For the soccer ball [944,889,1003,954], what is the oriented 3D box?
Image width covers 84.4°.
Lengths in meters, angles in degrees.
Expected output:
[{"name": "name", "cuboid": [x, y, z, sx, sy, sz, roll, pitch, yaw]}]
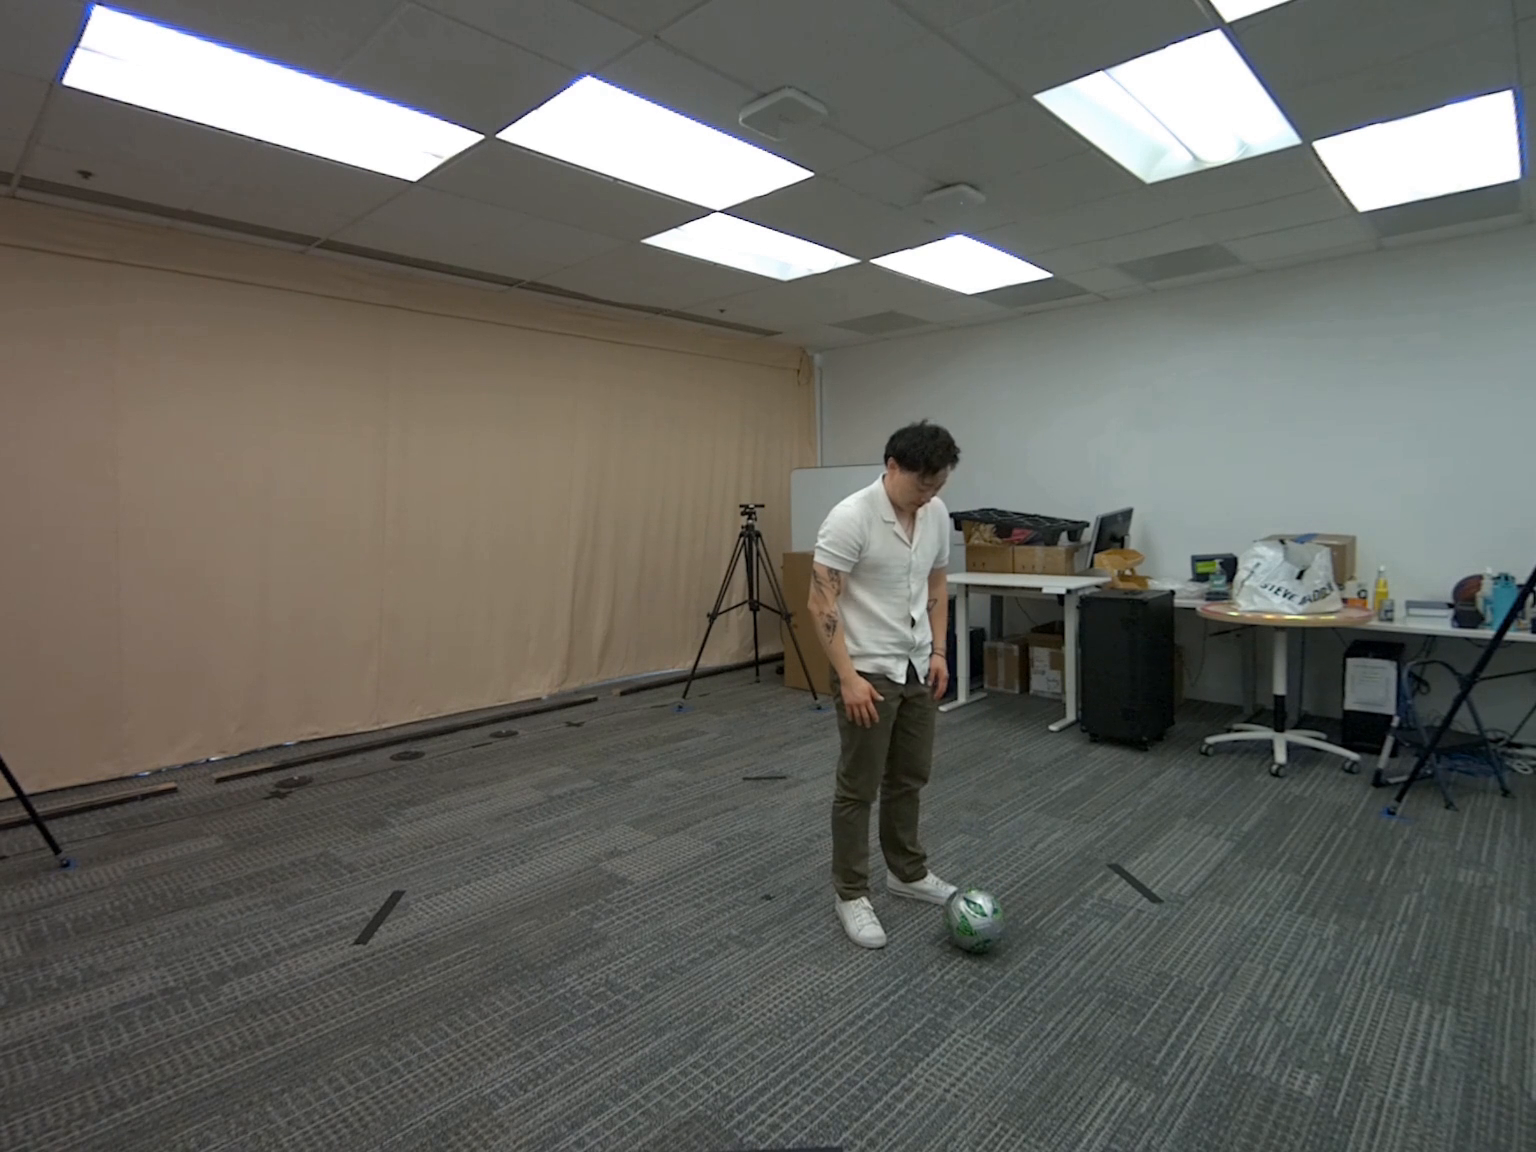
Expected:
[{"name": "soccer ball", "cuboid": [0.646, 1.065, 2.617, 0.187, 0.187, 0.188, -1, 4, -2]}]
